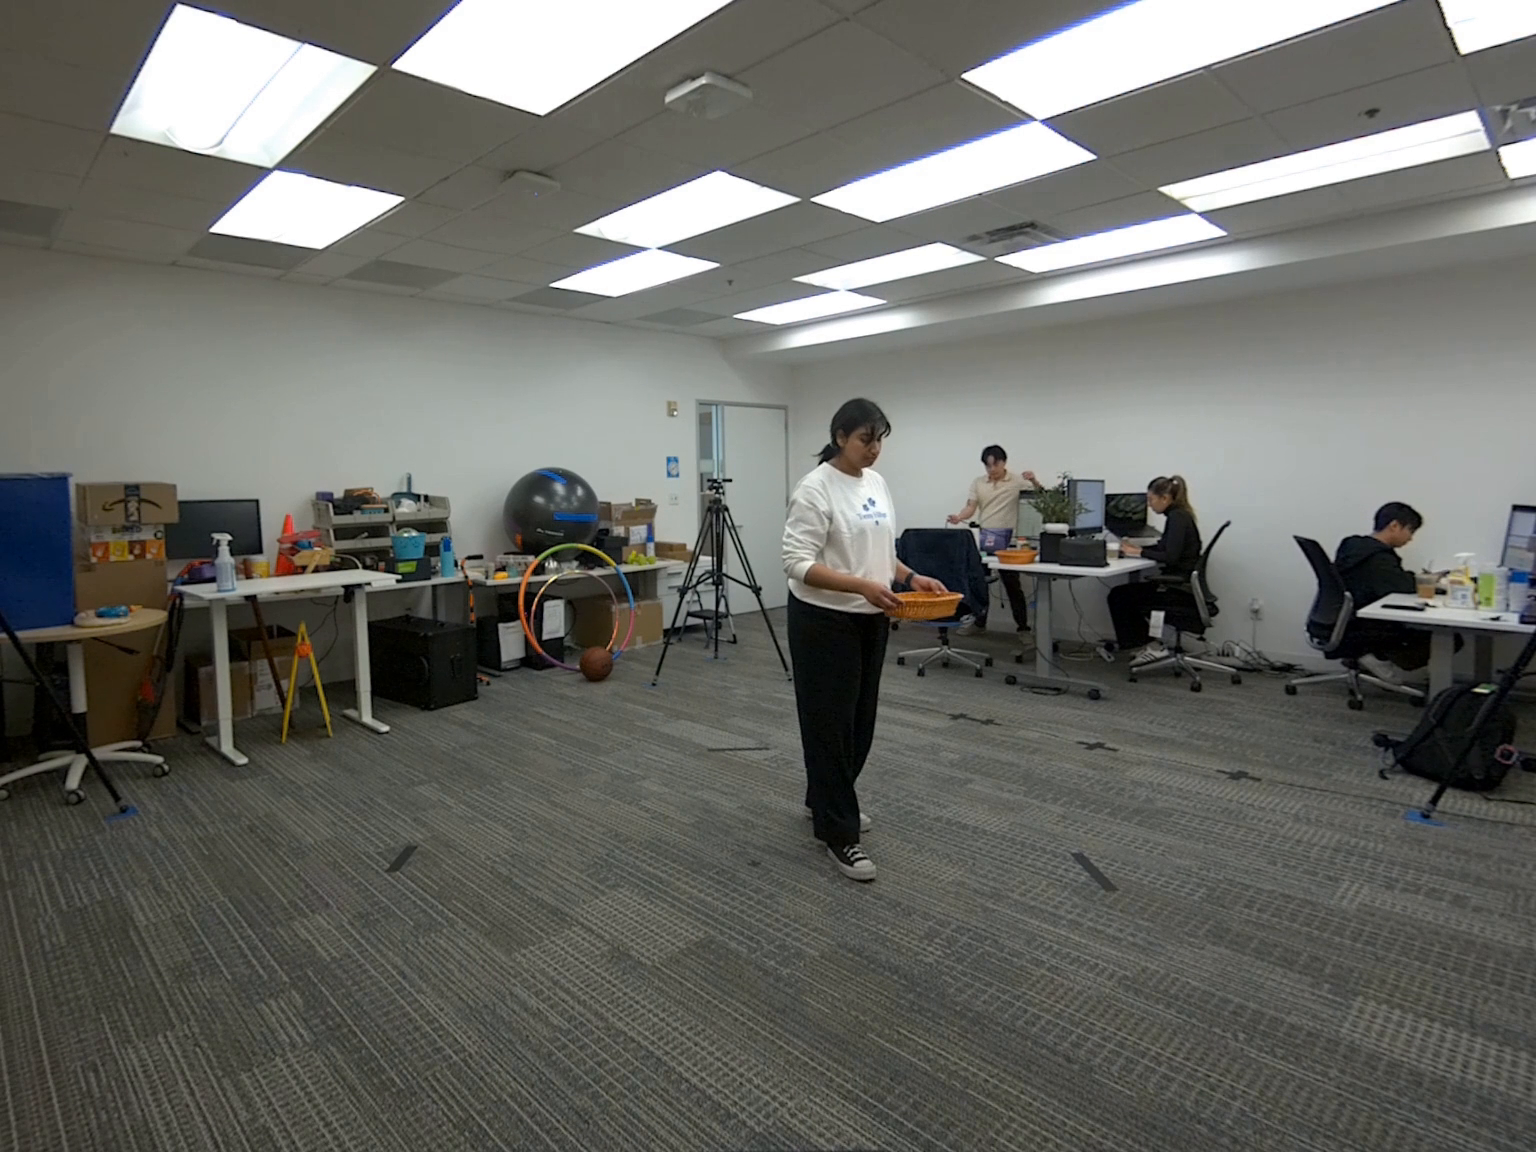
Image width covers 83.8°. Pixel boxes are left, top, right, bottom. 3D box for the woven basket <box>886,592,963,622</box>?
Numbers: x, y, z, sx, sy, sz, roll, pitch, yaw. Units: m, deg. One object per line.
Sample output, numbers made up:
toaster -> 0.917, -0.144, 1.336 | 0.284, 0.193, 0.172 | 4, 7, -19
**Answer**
woven basket -> 0.535, 0.107, 3.013 | 0.342, 0.073, 0.259 | -5, 4, -34
